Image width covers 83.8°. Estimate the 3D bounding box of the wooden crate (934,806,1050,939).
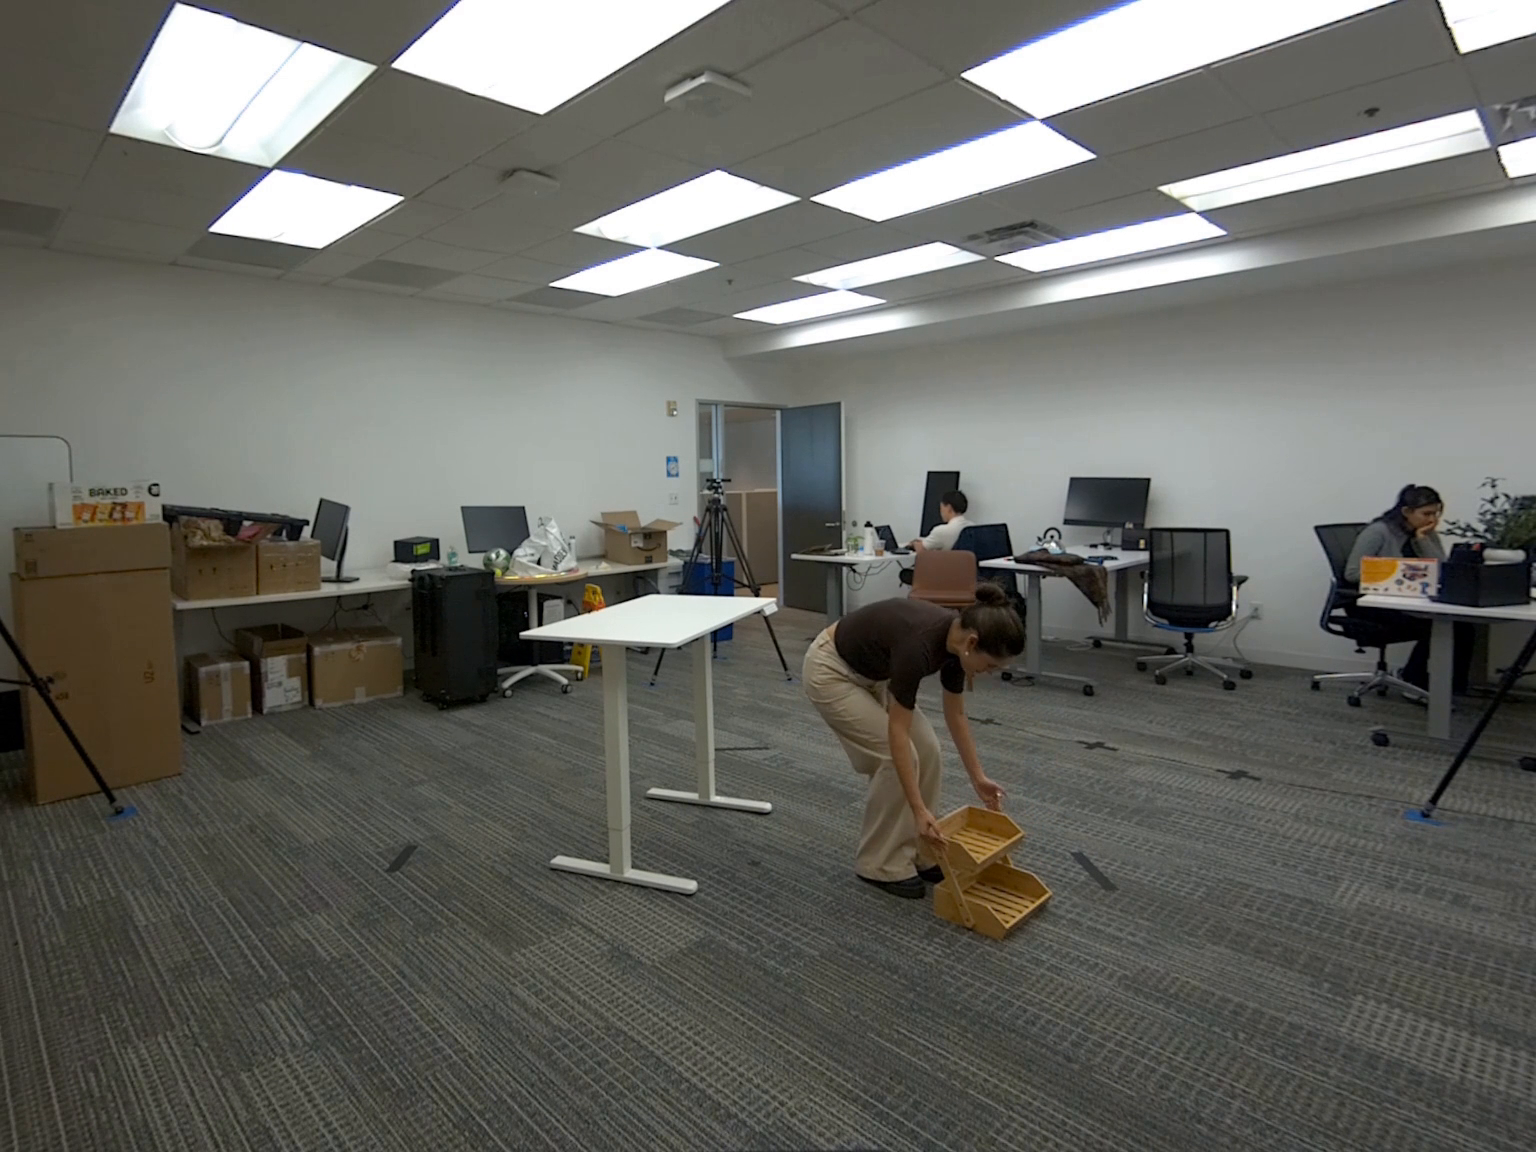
[{"bbox_3d":[0.706,0.942,2.743,0.311,0.272,0.316,2,6,44],"label":"wooden crate"}]
